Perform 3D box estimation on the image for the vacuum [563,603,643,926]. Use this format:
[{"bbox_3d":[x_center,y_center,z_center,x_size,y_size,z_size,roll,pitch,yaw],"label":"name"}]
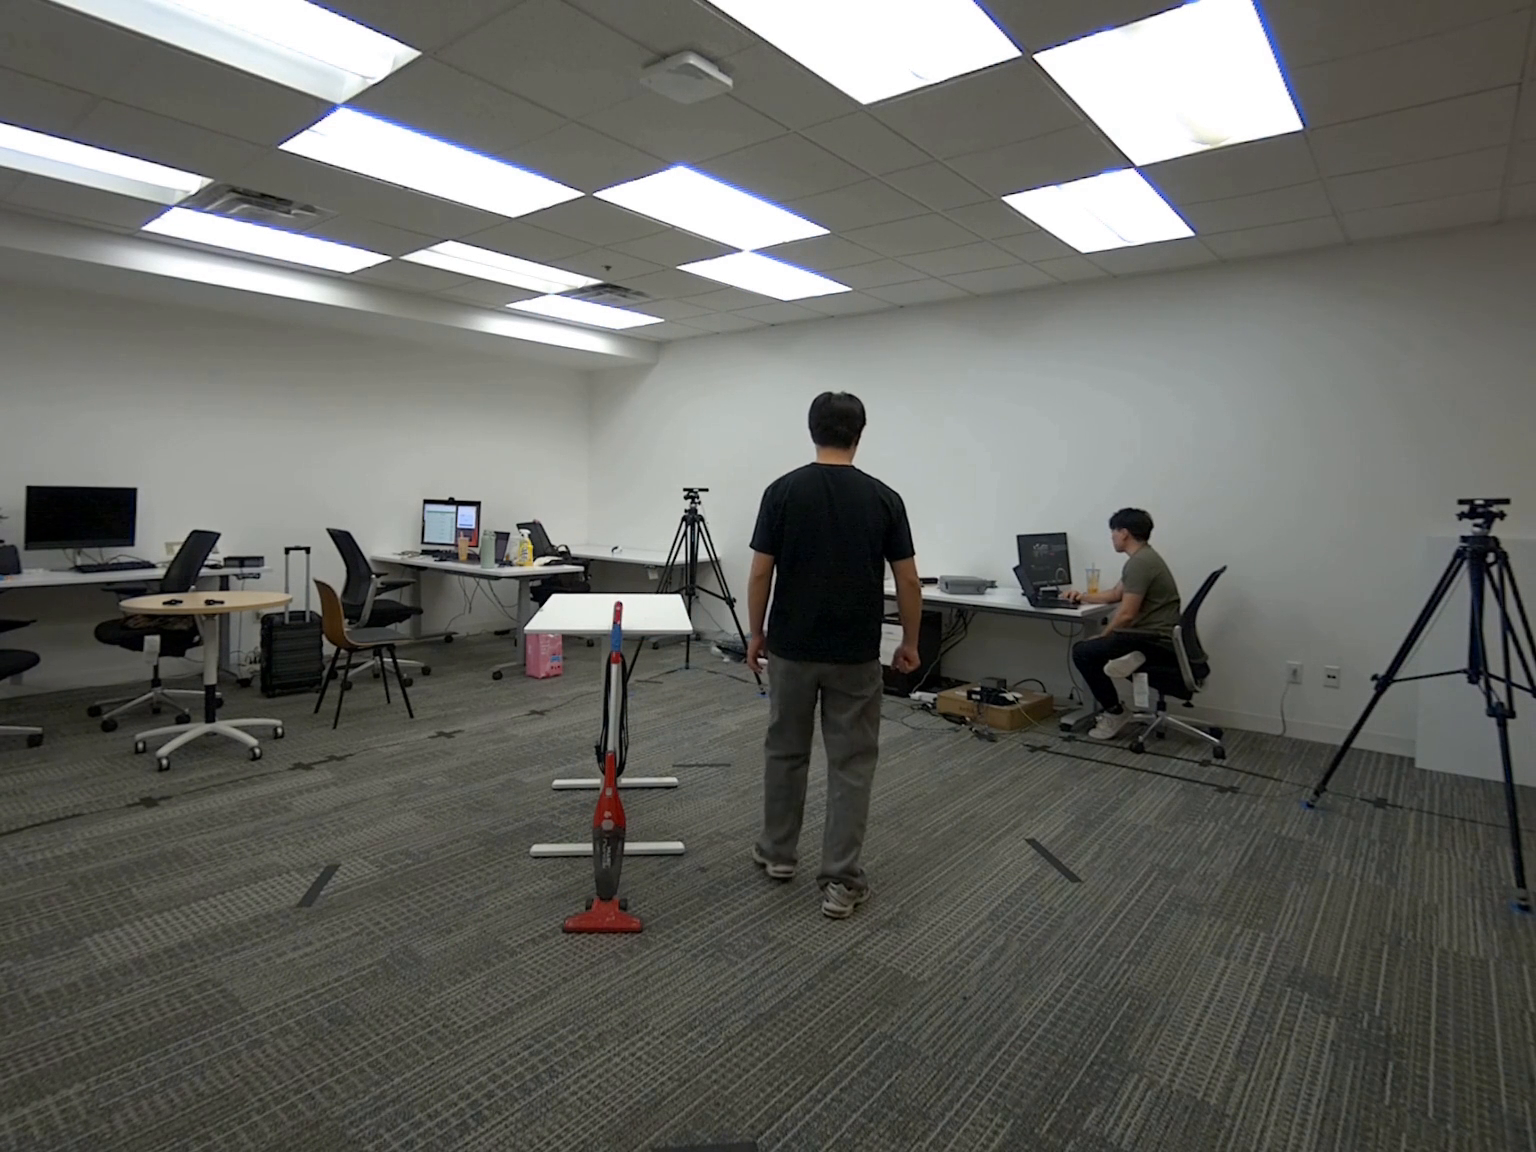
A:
[{"bbox_3d":[-0.541,0.600,2.913,0.251,1.070,0.142,2,-21,-6],"label":"vacuum"}]
